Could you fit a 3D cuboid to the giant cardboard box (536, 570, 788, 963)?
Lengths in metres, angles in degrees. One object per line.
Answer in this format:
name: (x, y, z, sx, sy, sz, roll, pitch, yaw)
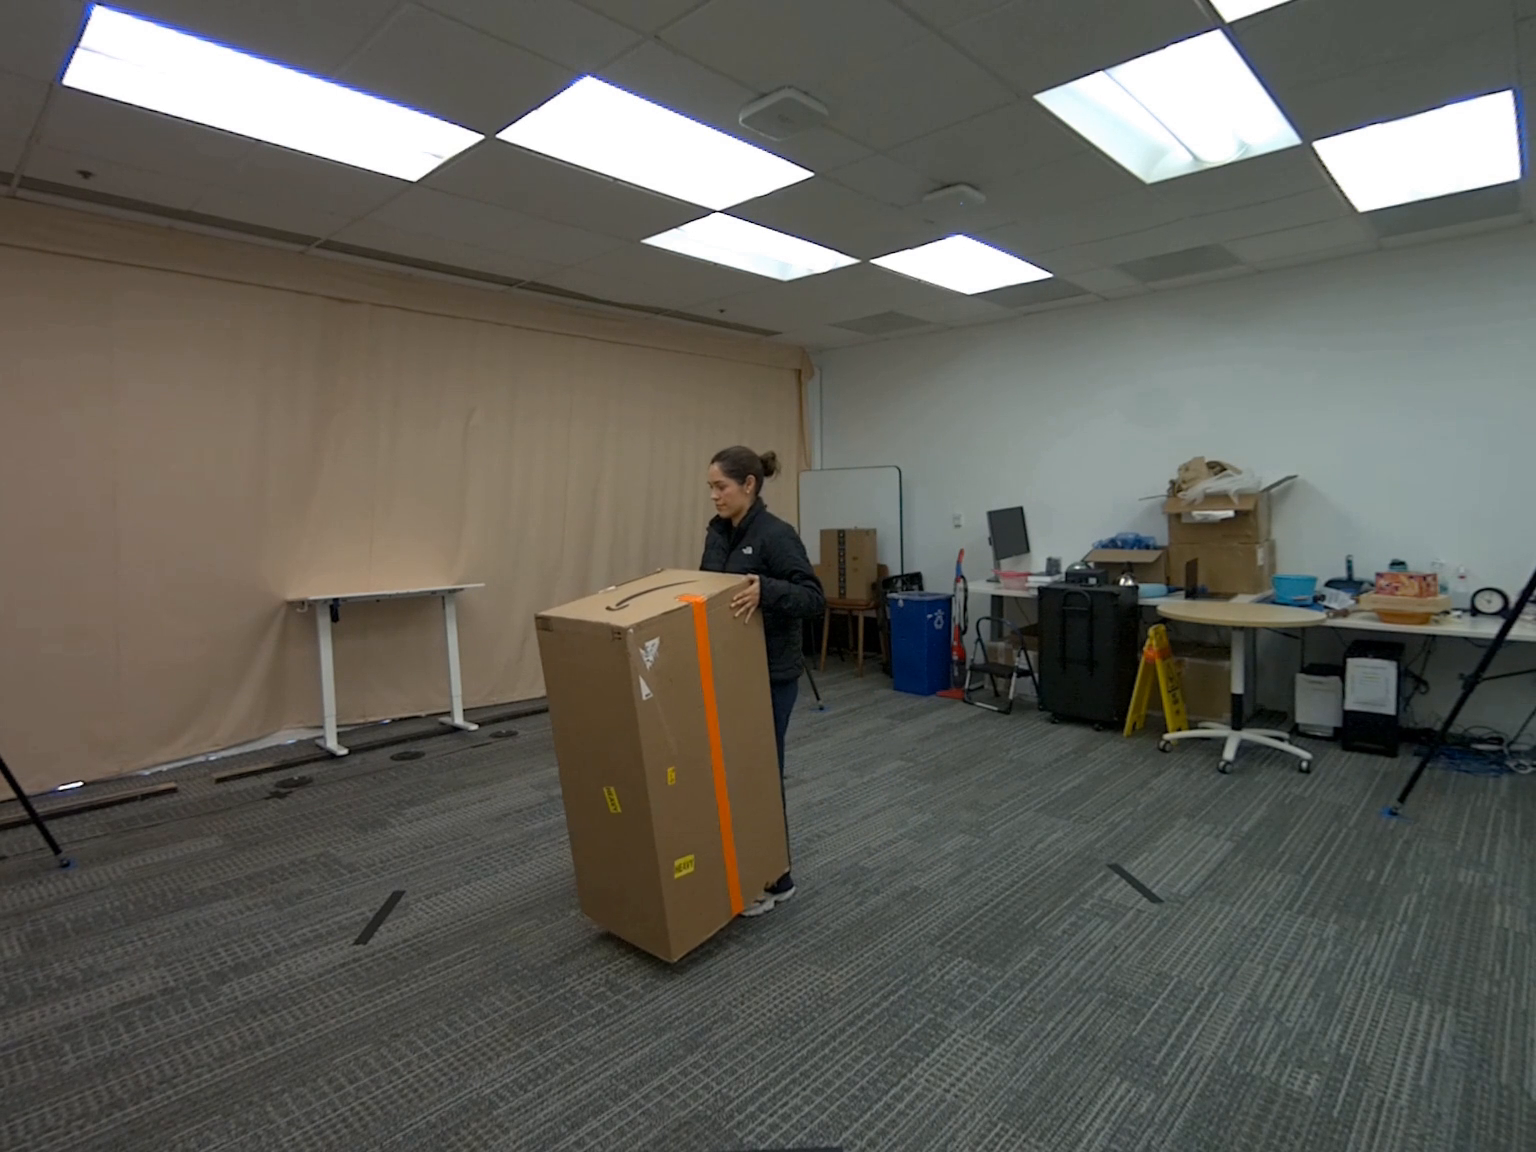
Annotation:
giant cardboard box: (-0.308, 0.559, 2.683, 0.440, 1.018, 0.563, 2, 14, 41)
